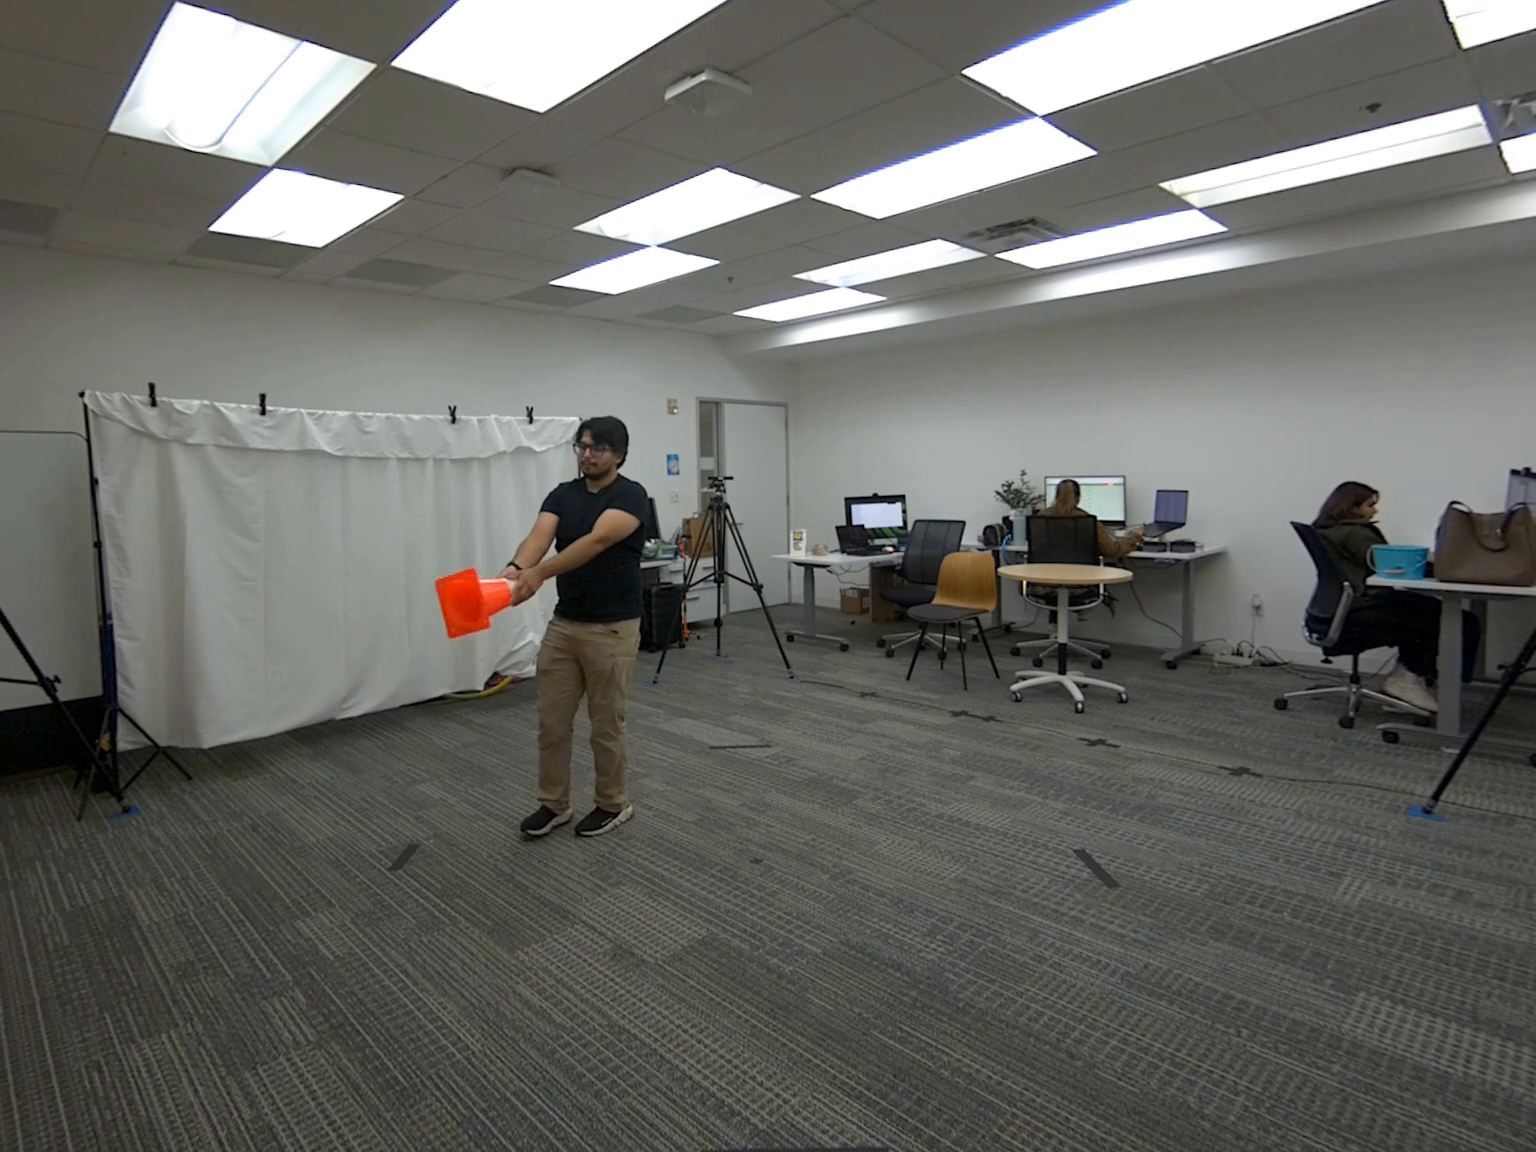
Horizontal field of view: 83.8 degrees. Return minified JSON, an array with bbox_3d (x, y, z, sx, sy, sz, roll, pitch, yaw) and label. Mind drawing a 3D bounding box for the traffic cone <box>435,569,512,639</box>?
[{"bbox_3d":[-0.887,0.055,2.894,0.206,0.206,0.376,-20,-3,32],"label":"traffic cone"}]
